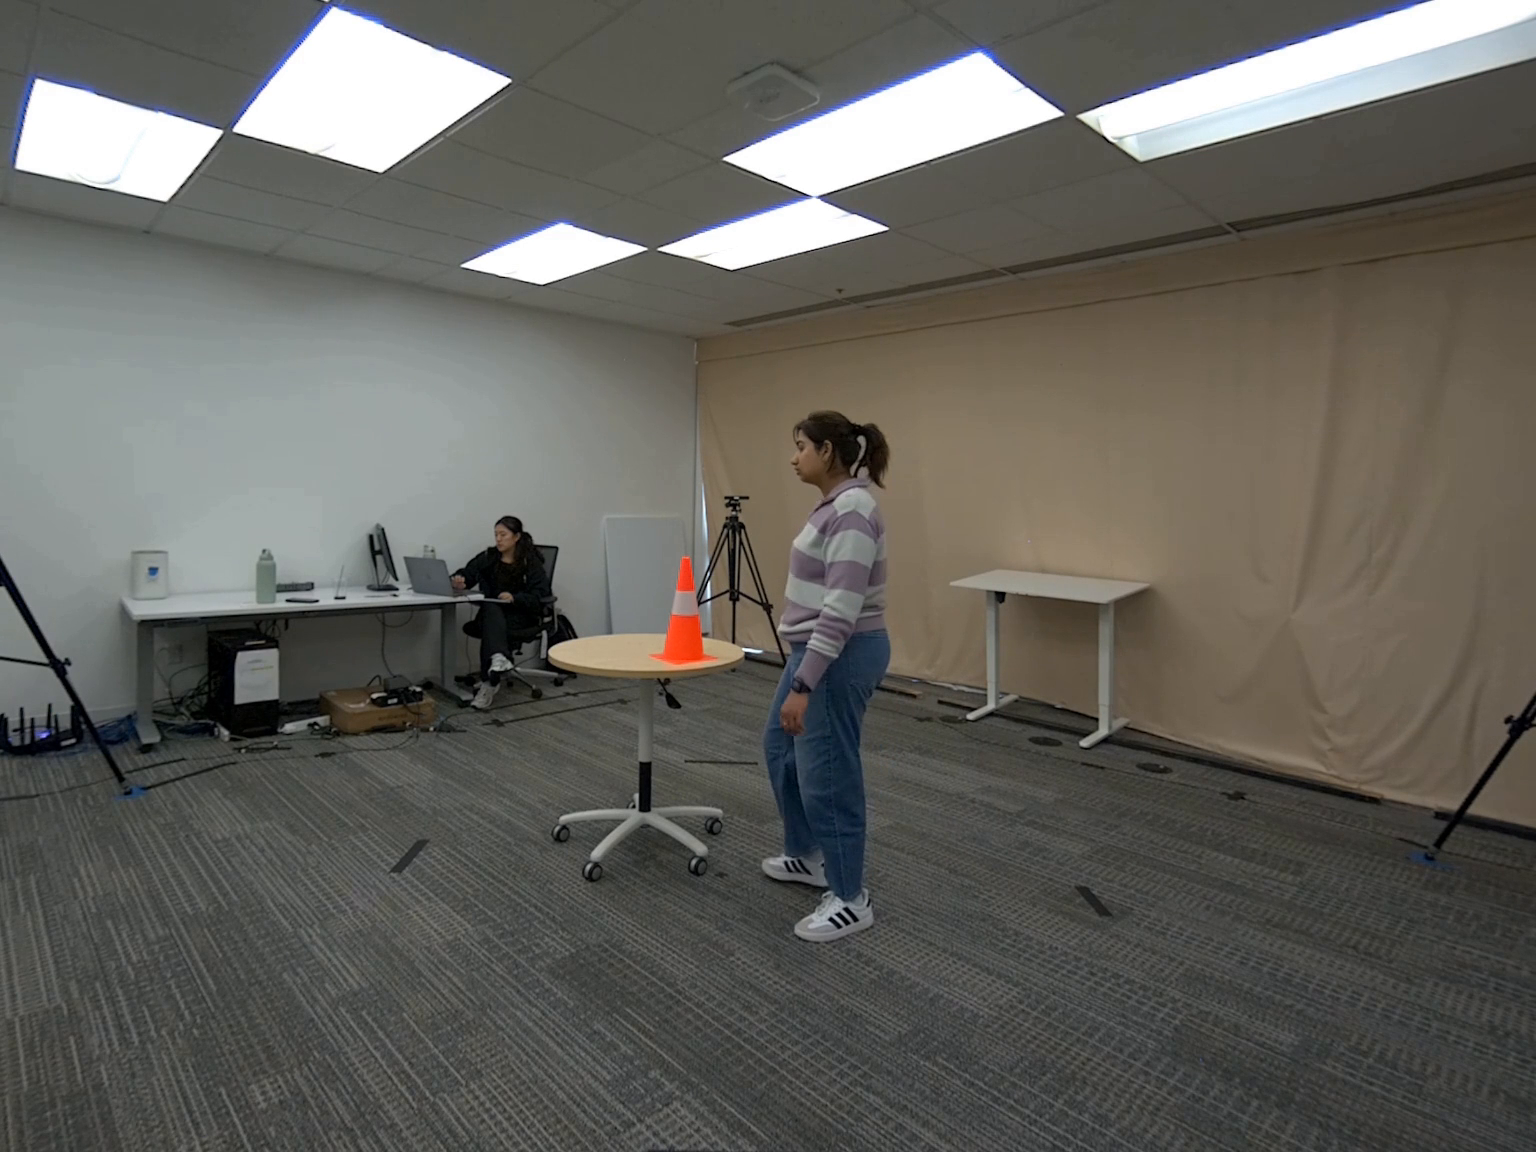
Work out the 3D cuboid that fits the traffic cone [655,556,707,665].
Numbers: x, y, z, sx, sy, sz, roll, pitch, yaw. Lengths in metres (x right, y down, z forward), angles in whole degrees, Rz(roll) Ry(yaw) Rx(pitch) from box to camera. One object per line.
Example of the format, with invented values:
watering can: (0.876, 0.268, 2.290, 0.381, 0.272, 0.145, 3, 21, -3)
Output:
traffic cone: (-0.317, 0.123, 3.171, 0.210, 0.382, 0.199, 6, 7, 42)
